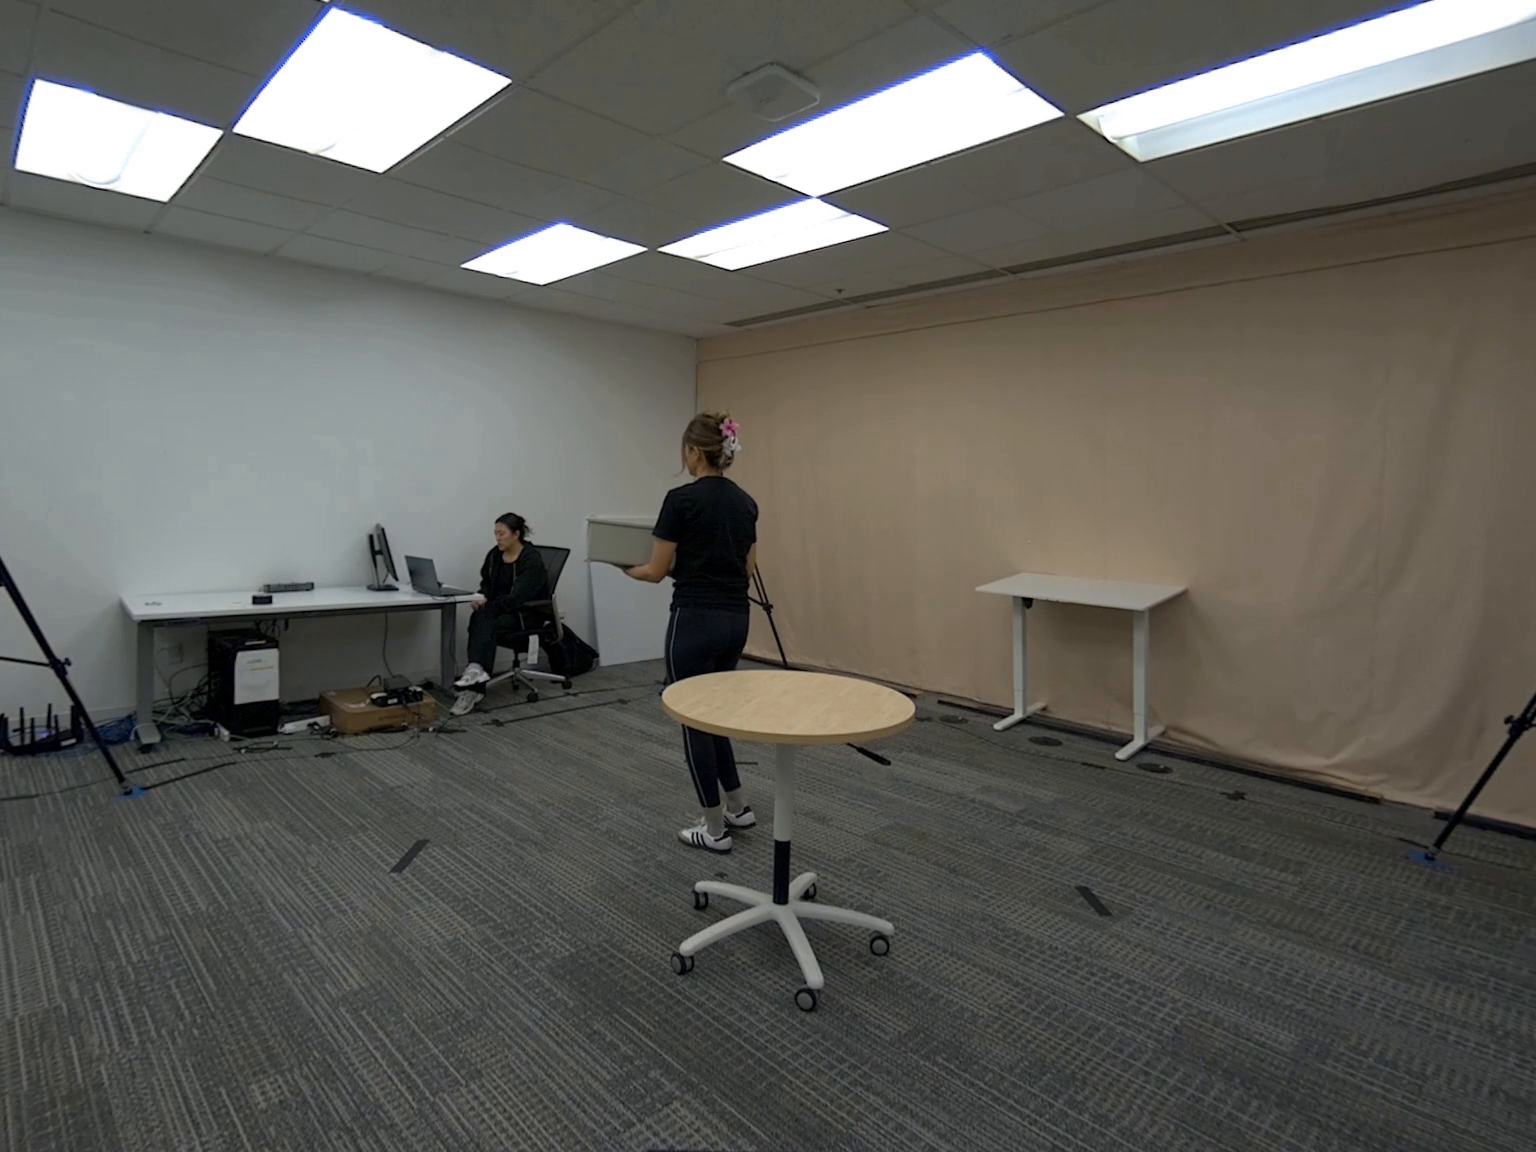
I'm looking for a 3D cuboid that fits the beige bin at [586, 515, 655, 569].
[{"bbox_3d":[-0.545,-0.146,3.568,0.423,0.188,0.378,6,8,2],"label":"beige bin"}]
